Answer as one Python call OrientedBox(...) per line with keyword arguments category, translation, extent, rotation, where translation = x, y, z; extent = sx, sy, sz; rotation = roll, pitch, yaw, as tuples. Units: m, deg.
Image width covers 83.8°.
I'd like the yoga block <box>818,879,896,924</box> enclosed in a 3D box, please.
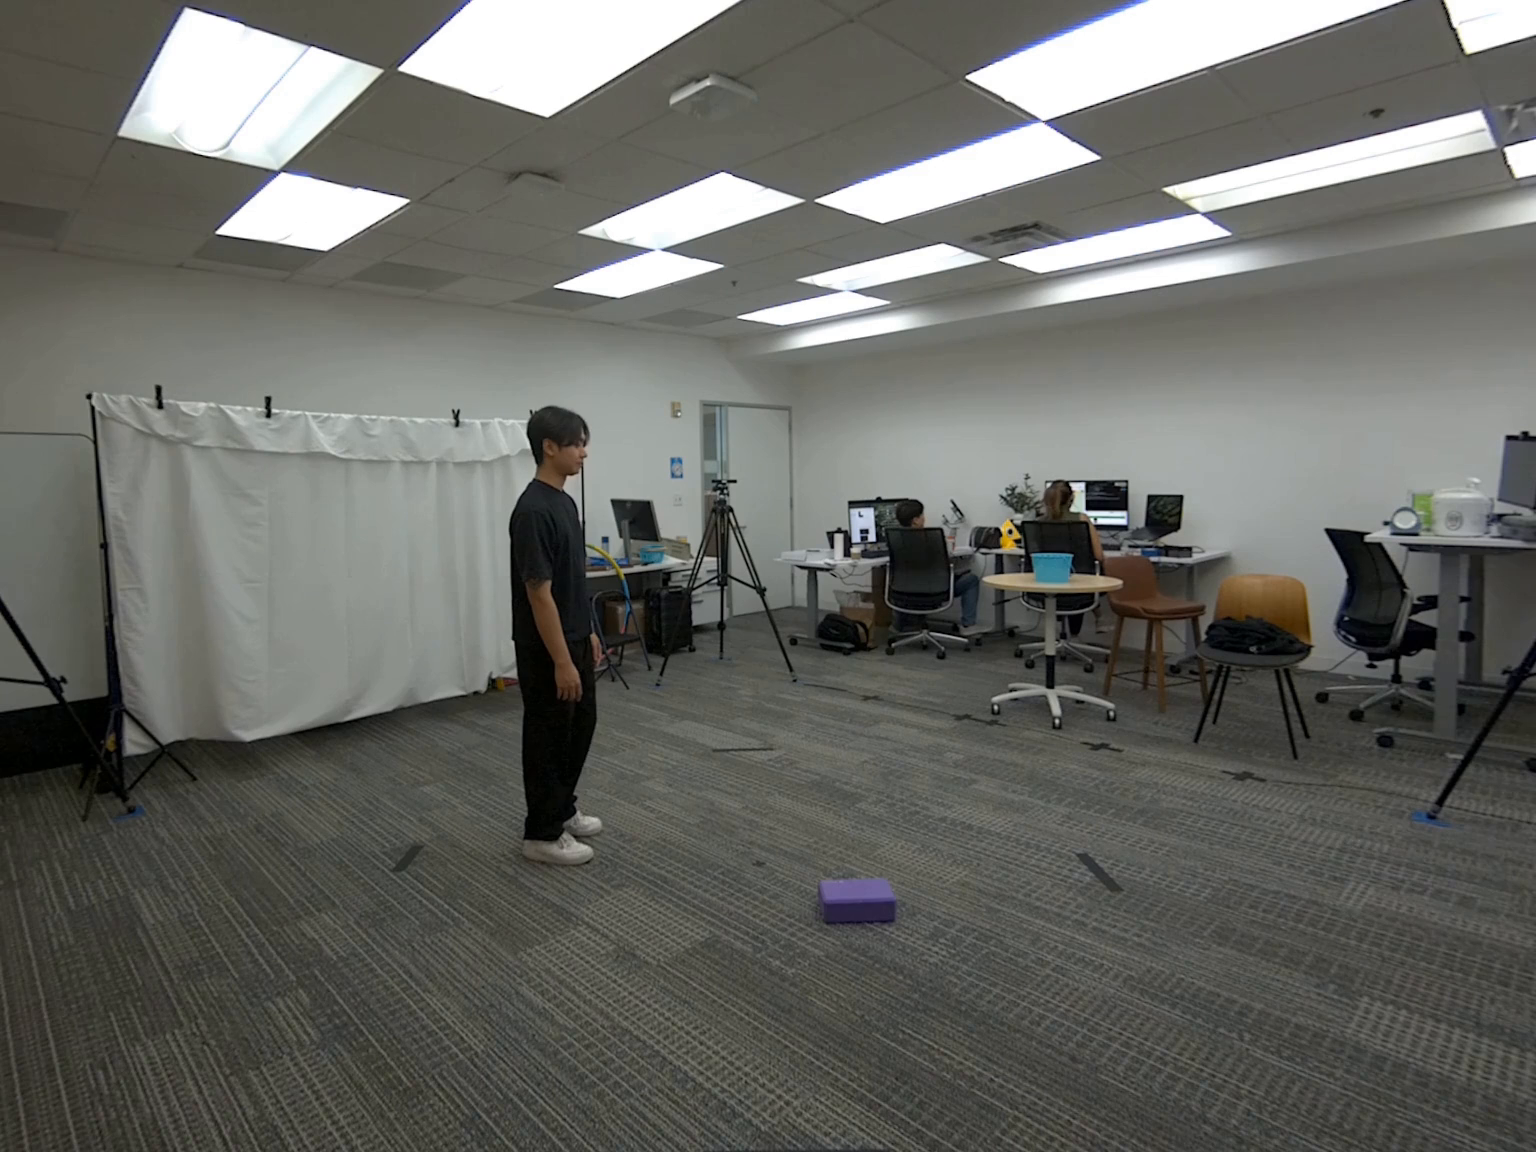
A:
OrientedBox(category="yoga block", translation=(0.290, 1.043, 2.746), extent=(0.229, 0.076, 0.150), rotation=(-1, 5, -2))
